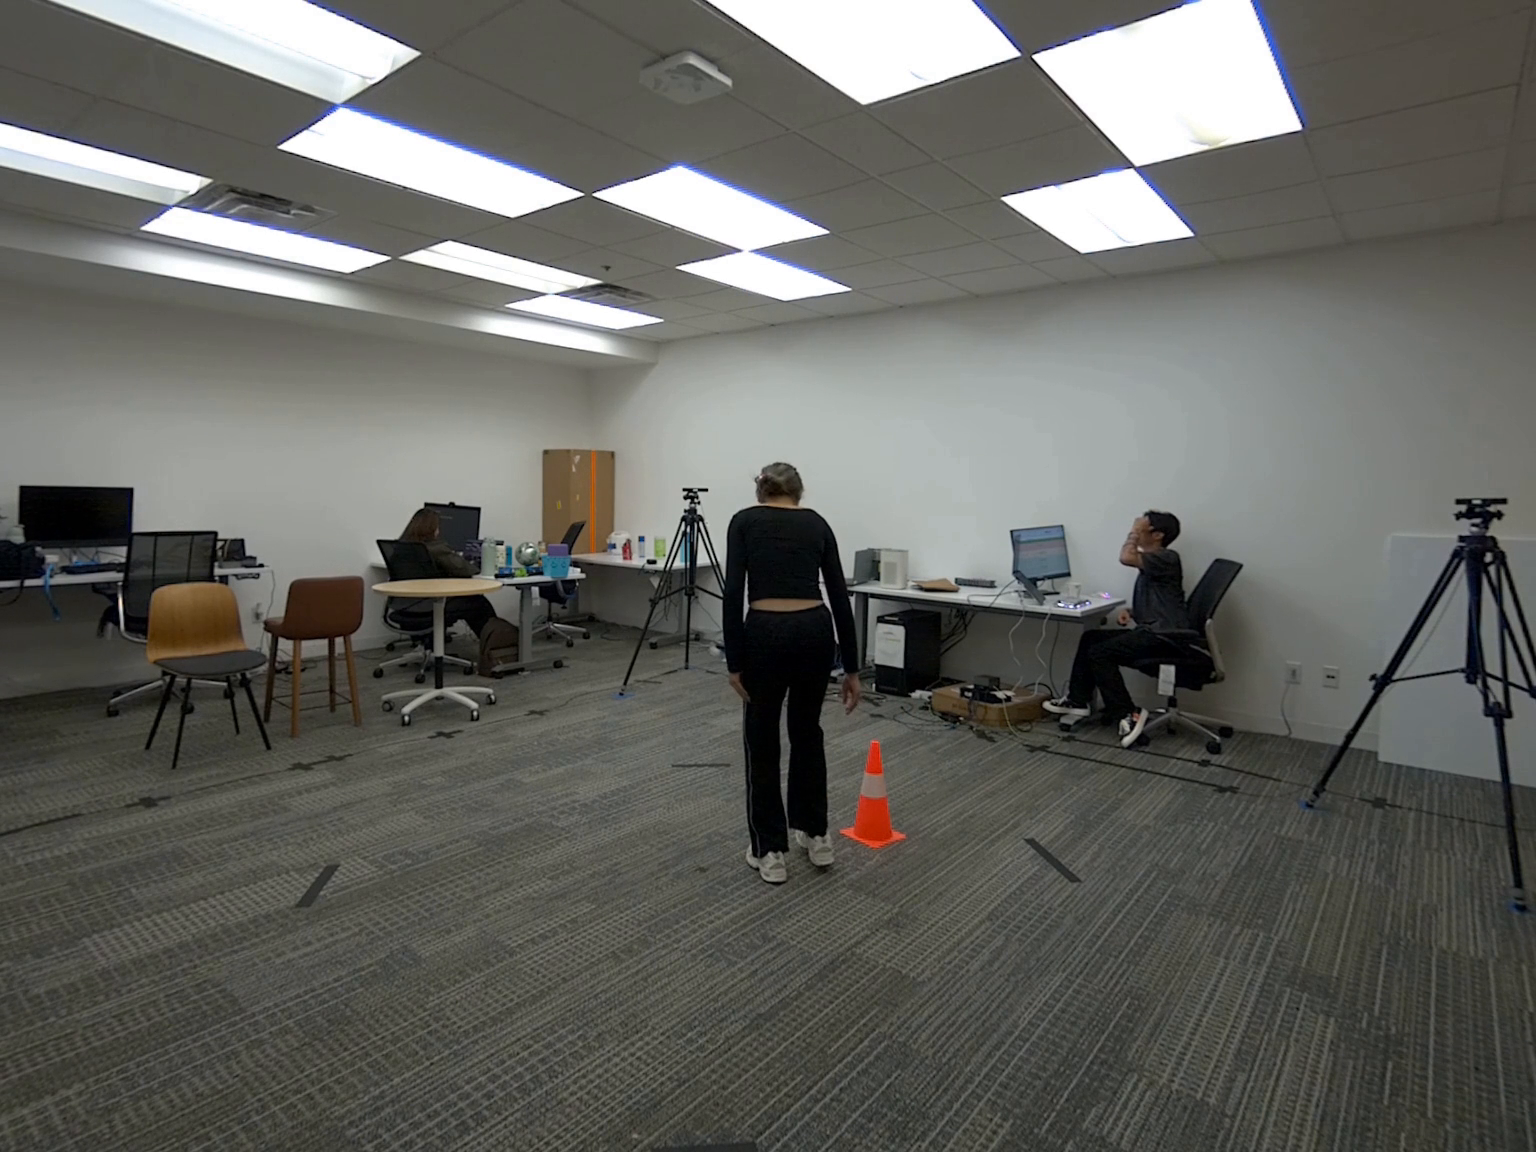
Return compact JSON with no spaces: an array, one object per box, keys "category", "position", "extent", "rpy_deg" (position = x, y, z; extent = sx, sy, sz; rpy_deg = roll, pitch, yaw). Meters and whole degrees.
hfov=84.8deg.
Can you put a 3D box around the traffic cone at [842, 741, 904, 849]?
[{"category":"traffic cone","position":[0.429,0.864,3.462],"extent":[0.199,0.383,0.210],"rpy_deg":[0,4,-39]}]
